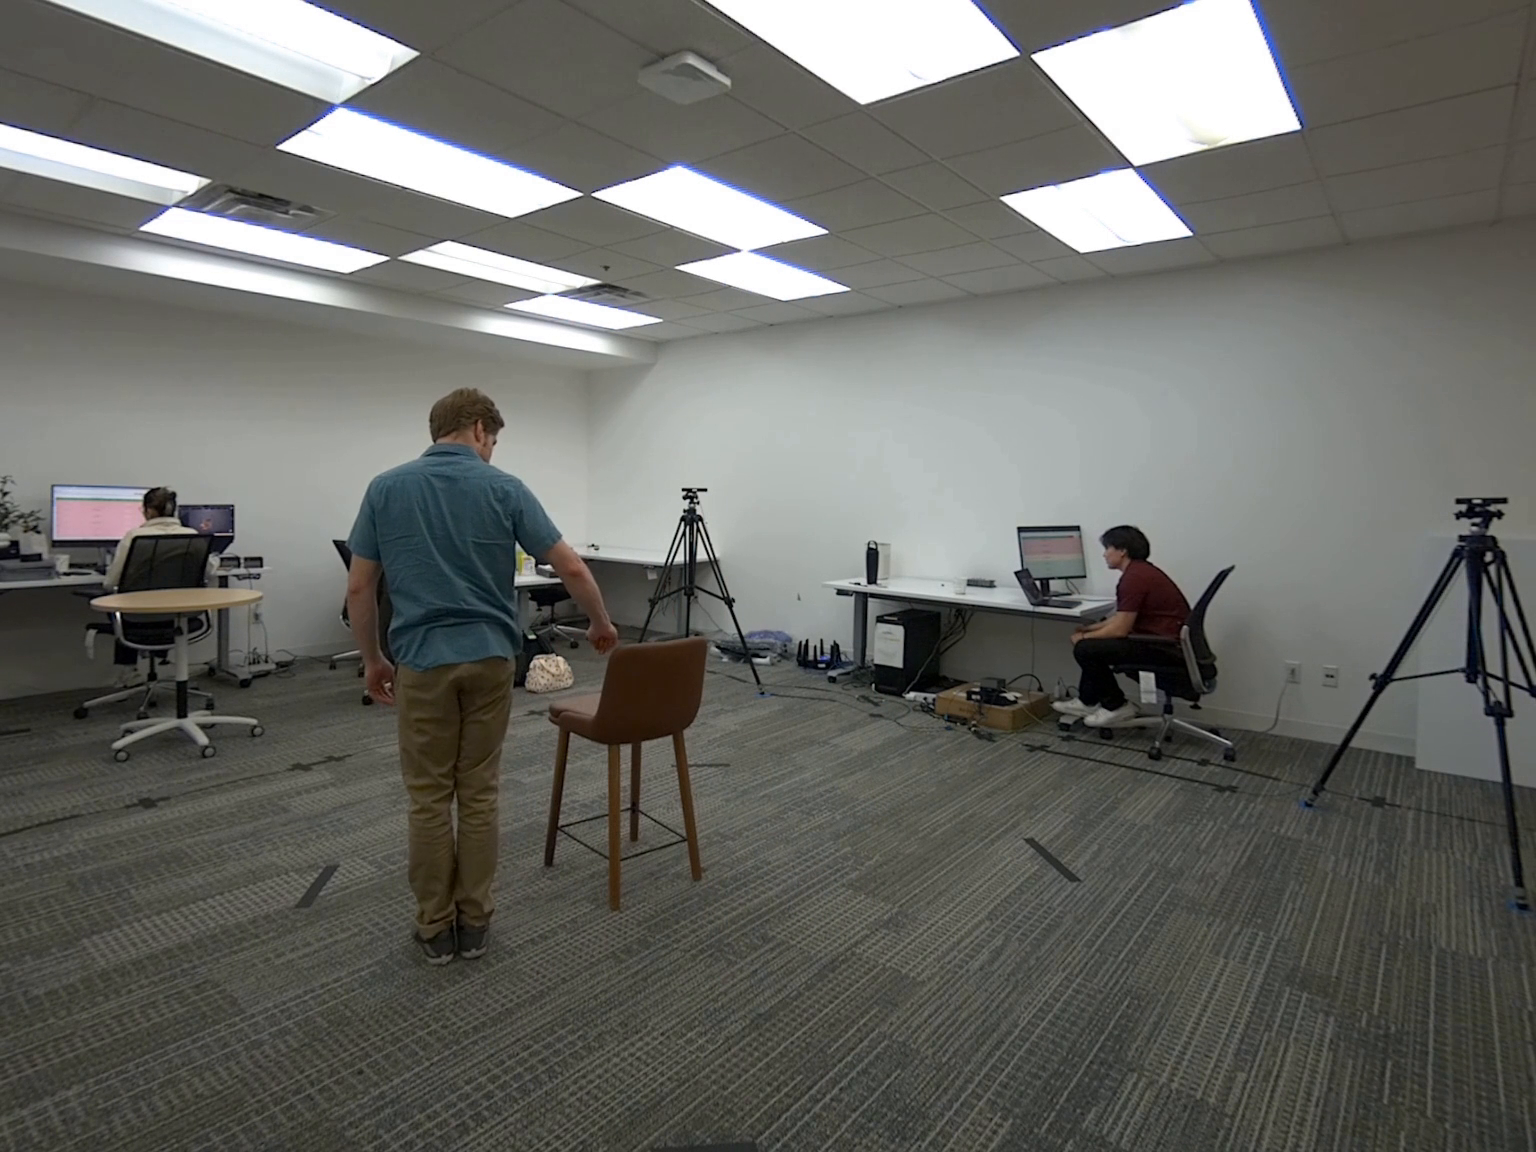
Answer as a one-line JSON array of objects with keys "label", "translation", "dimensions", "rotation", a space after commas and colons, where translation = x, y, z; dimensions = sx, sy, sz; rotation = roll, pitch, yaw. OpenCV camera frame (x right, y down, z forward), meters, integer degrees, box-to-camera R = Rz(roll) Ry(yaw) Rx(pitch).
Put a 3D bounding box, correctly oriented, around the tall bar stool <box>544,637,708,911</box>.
[{"label": "tall bar stool", "translation": [-0.519, 0.637, 3.056], "dimensions": [0.442, 0.886, 0.484], "rotation": [-1, 6, -42]}]
